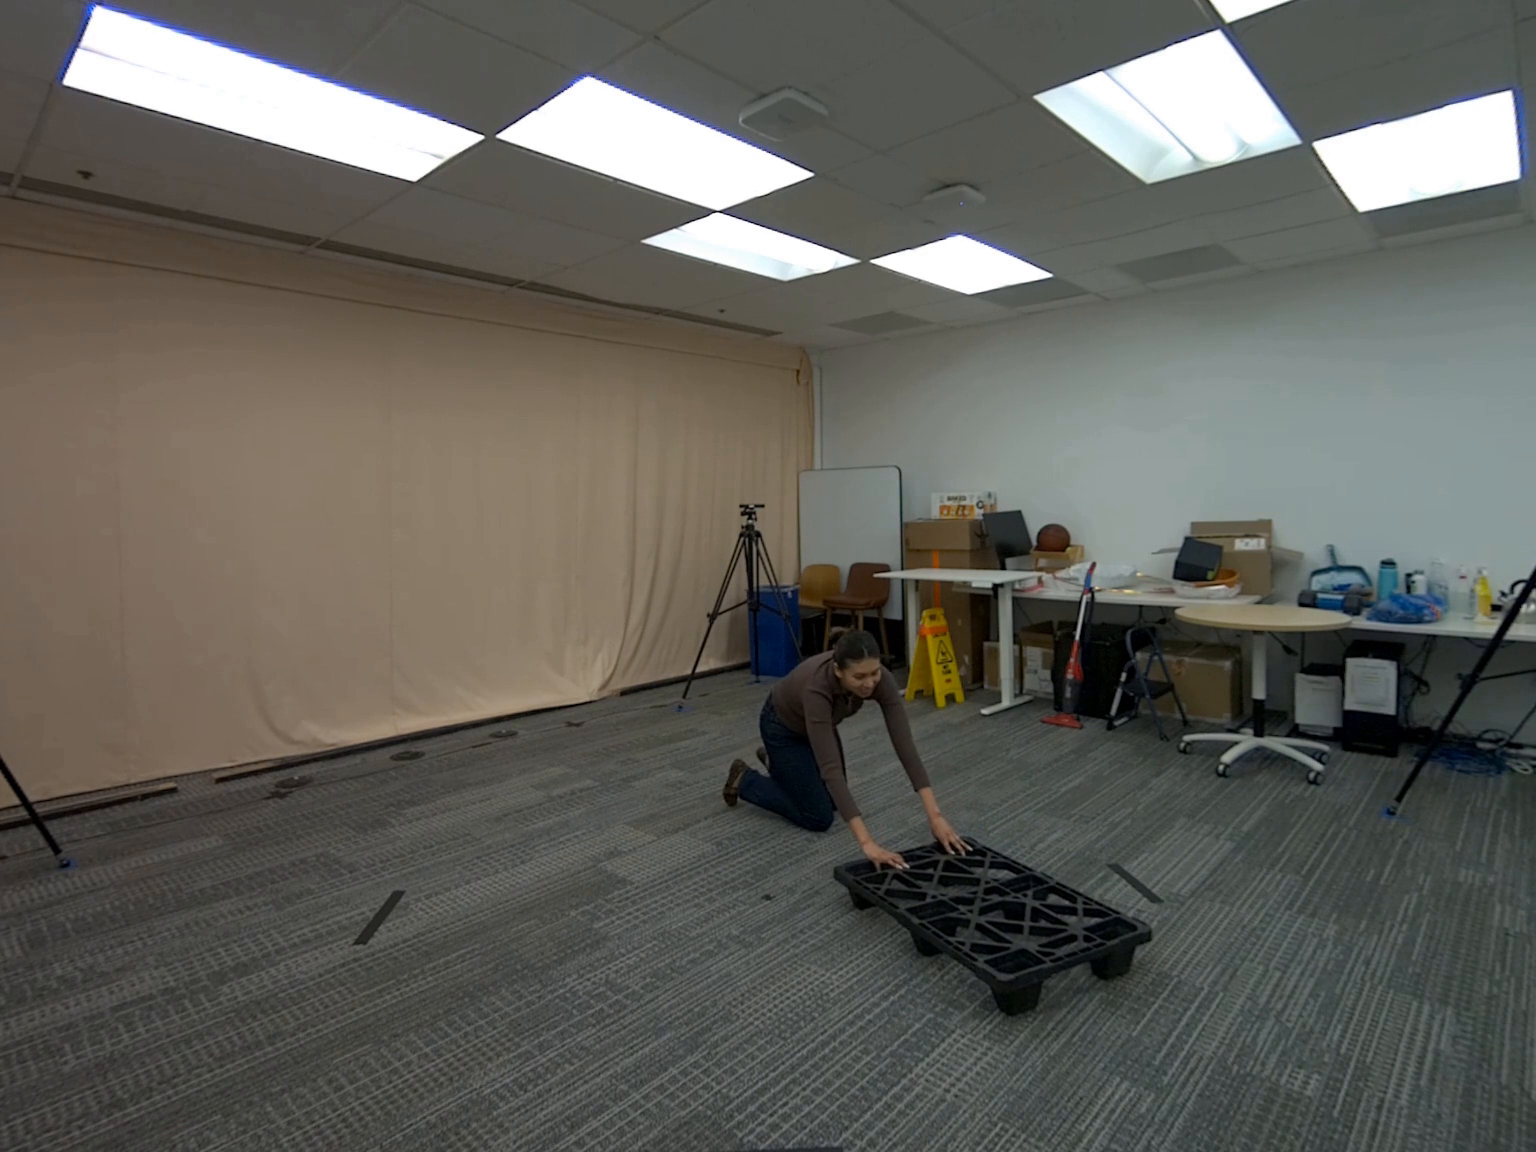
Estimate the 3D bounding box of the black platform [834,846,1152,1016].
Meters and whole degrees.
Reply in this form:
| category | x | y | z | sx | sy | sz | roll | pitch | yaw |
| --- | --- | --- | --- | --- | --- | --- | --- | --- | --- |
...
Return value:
| category | x | y | z | sx | sy | sz | roll | pitch | yaw |
| --- | --- | --- | --- | --- | --- | --- | --- | --- | --- |
| black platform | 0.689 | 1.086 | 2.692 | 0.590 | 0.143 | 0.828 | -3 | 5 | -28 |
